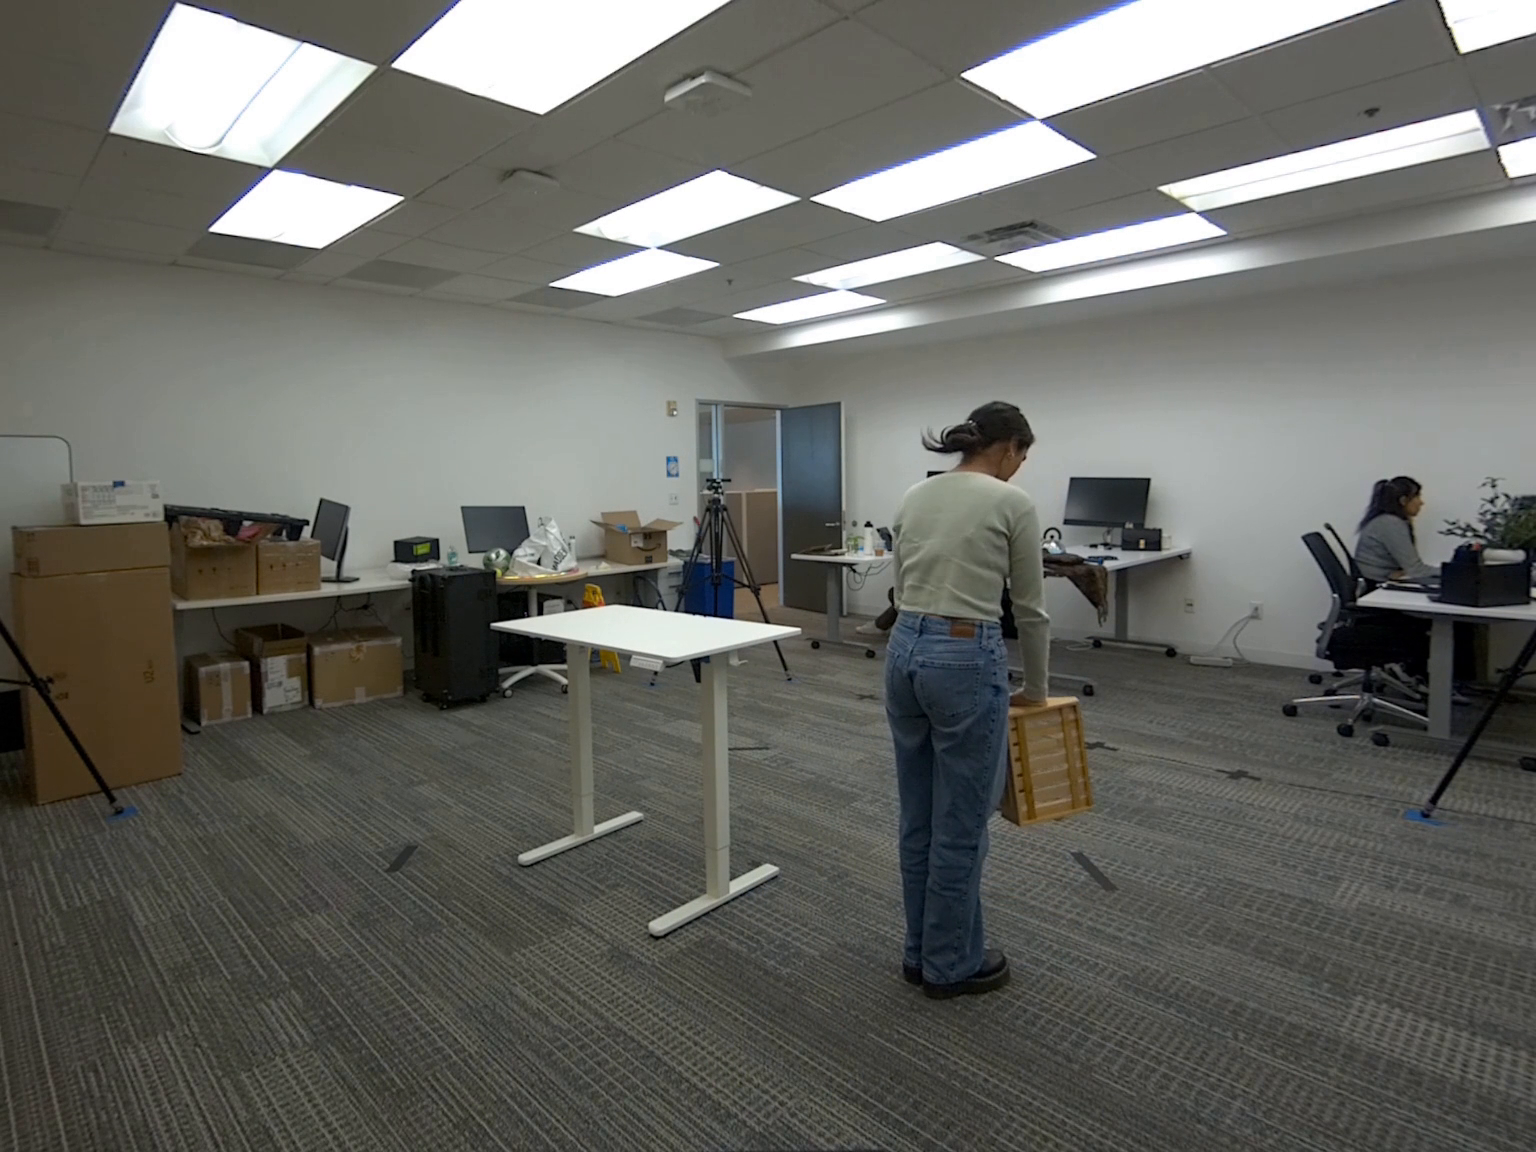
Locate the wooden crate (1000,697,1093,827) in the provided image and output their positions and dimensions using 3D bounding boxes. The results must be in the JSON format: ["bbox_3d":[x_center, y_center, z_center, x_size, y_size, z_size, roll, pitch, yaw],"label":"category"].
[{"bbox_3d":[0.707,0.501,2.449,0.298,0.324,0.278,-8,2,-18],"label":"wooden crate"}]
